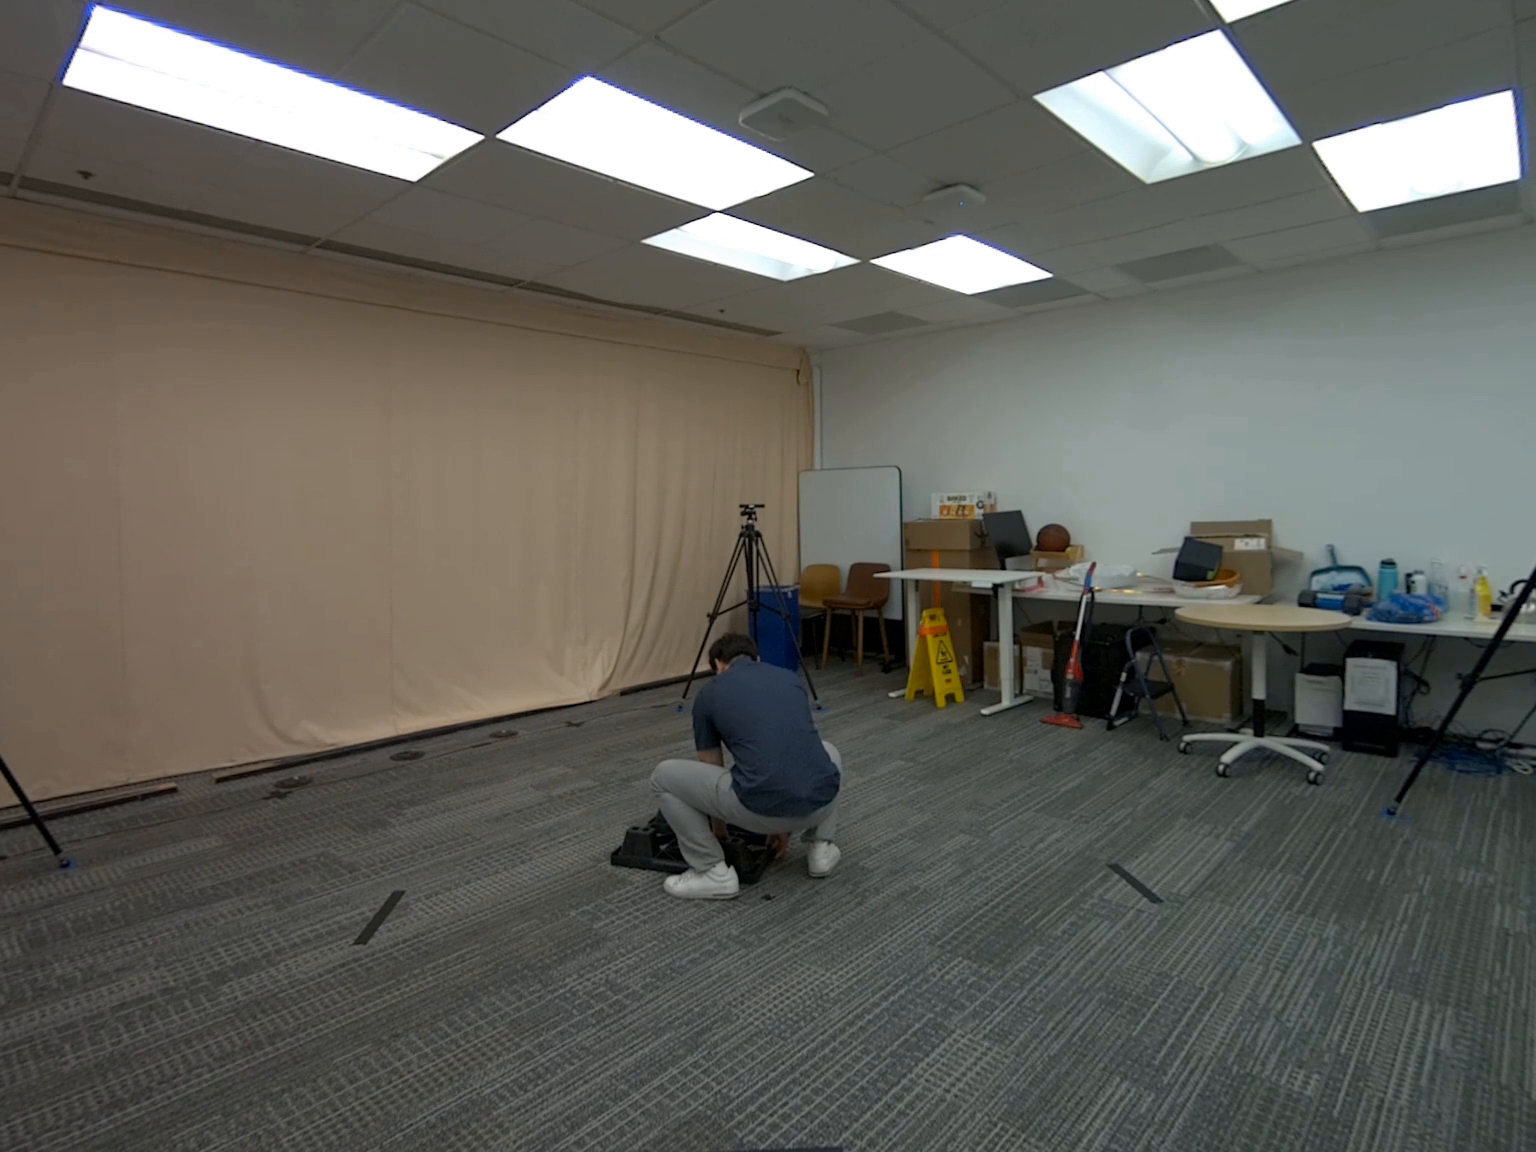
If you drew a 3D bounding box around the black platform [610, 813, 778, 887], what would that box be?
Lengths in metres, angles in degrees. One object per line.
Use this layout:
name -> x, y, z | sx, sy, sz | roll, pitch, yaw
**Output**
black platform -> -0.224, 1.026, 3.551 | 0.617, 0.143, 0.792 | 1, 5, 18
